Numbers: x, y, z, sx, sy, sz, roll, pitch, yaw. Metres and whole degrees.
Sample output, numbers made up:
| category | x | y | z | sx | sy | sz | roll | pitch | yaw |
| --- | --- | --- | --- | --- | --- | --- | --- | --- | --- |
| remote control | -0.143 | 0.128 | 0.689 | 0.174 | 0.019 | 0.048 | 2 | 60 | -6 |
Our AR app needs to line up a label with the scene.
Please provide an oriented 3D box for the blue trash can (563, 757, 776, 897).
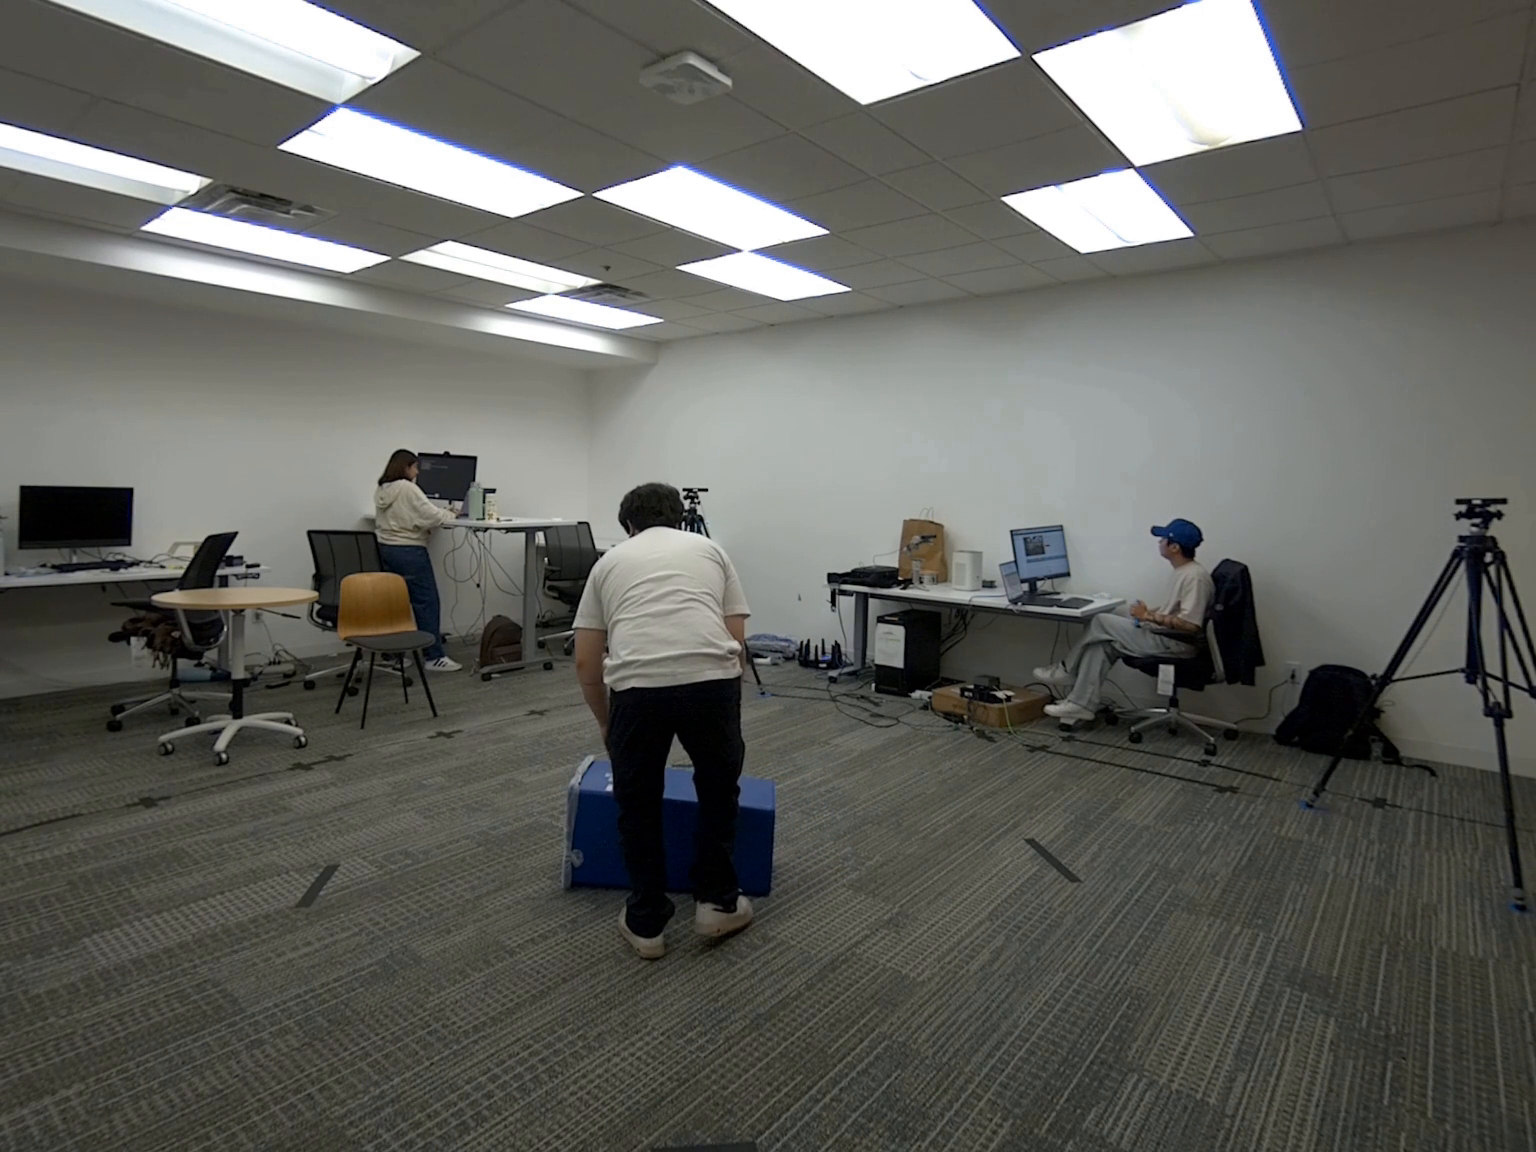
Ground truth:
| category | x | y | z | sx | sy | sz | roll | pitch | yaw |
| --- | --- | --- | --- | --- | --- | --- | --- | --- | --- |
| blue trash can | -0.352 | 0.904 | 3.068 | 0.715 | 0.377 | 0.374 | 4 | 3 | 2 |
